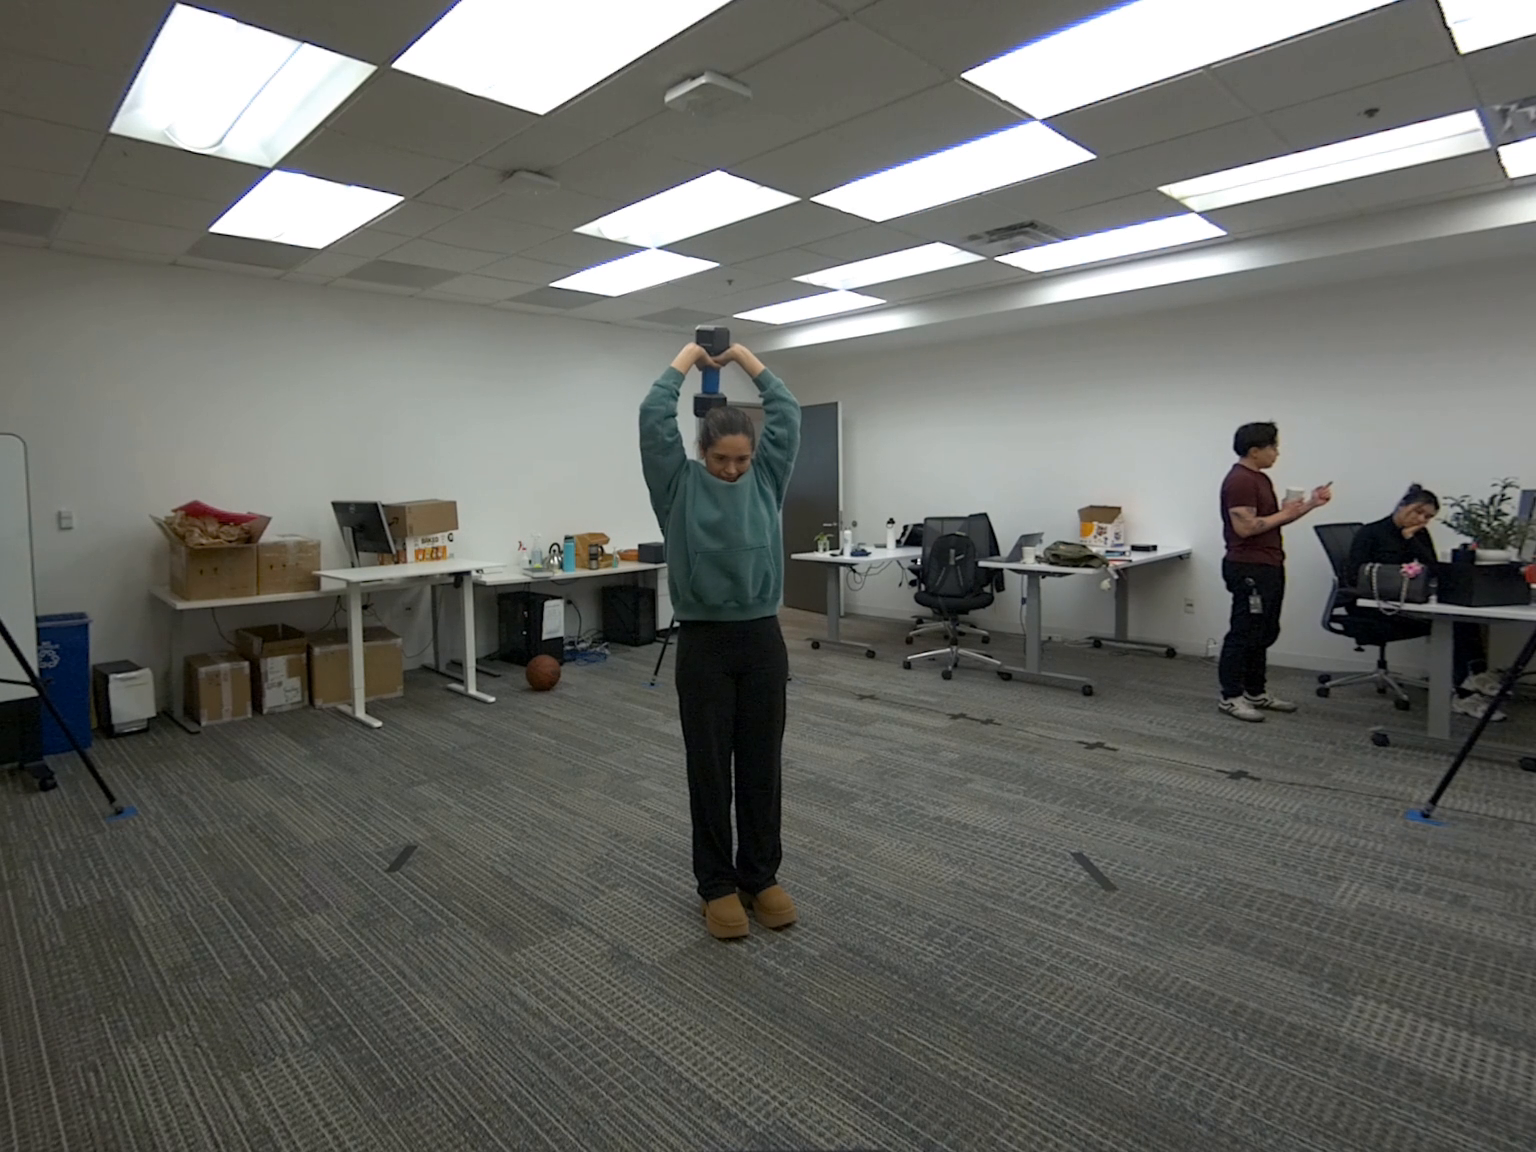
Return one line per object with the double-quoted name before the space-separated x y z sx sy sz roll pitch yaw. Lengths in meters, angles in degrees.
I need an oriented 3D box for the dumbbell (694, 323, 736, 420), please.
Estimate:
"dumbbell" -0.176 -0.664 2.779 0.108 0.289 0.126 0 19 -11
